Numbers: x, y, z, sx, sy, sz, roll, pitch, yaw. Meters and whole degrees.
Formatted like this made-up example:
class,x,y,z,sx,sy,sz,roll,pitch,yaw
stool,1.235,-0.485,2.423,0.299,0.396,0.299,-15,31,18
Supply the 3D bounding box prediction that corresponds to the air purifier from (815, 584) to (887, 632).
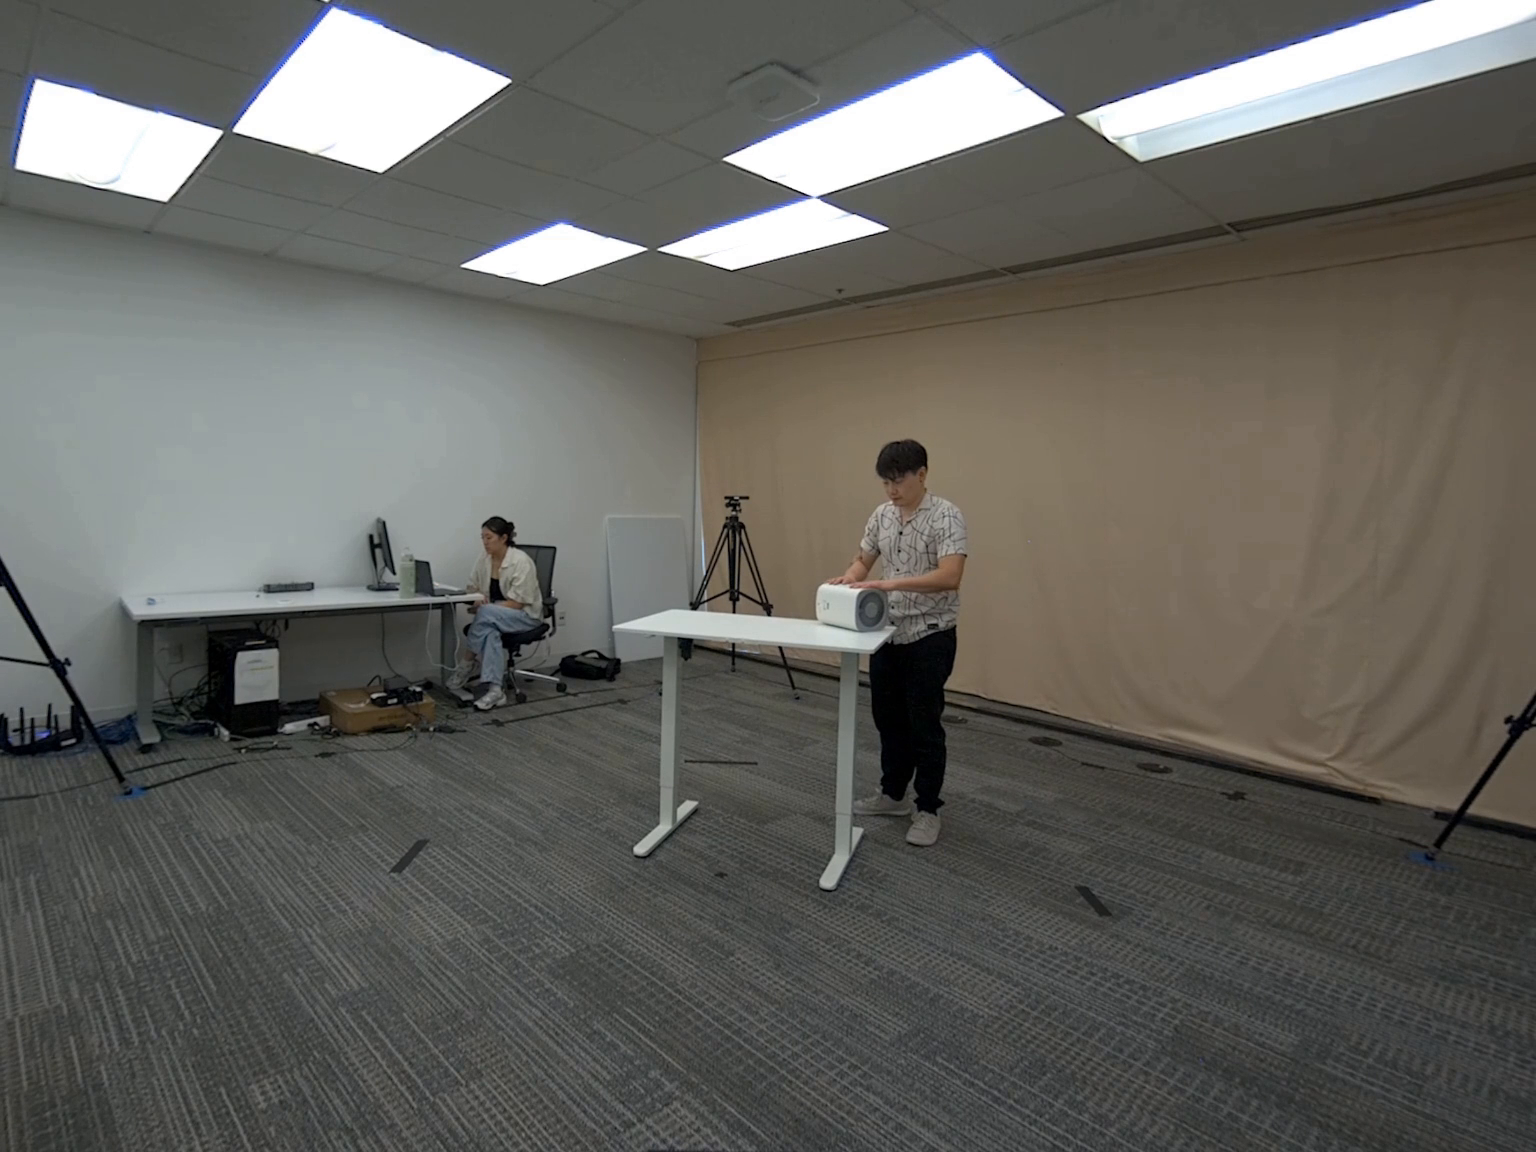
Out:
class,x,y,z,sx,sy,sz,roll,pitch,yaw
air purifier,0.327,0.120,3.409,0.168,0.171,0.271,-1,4,-33
